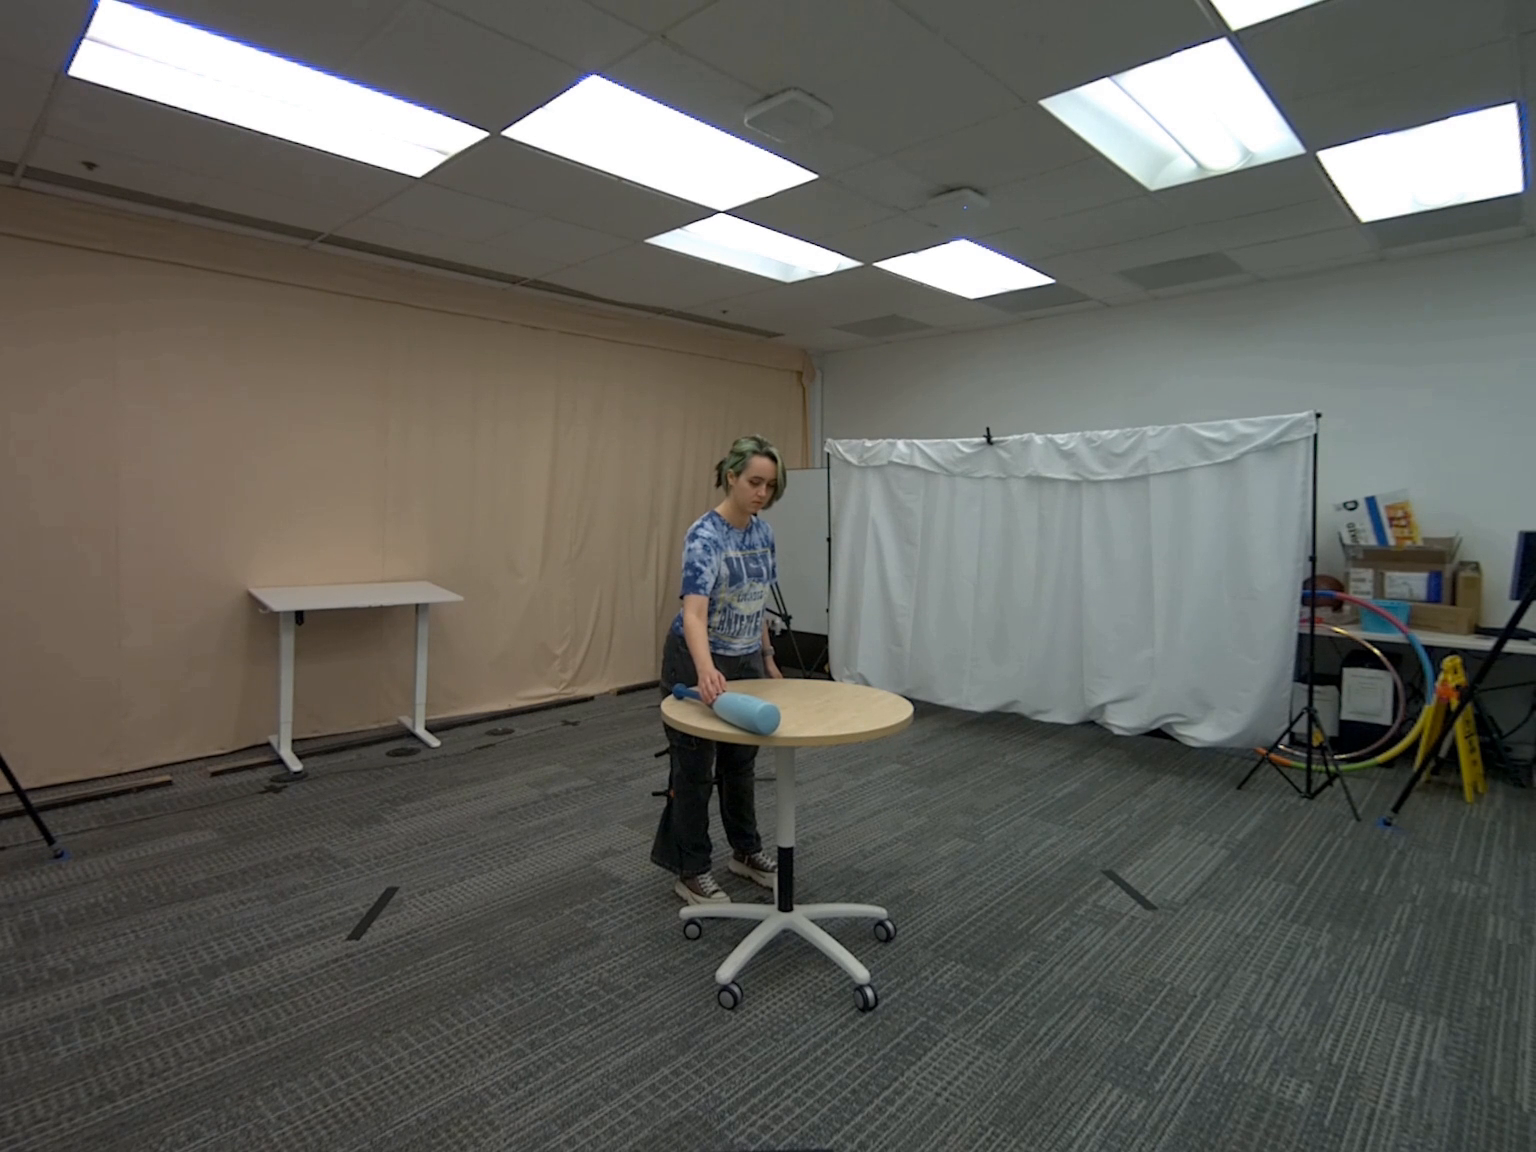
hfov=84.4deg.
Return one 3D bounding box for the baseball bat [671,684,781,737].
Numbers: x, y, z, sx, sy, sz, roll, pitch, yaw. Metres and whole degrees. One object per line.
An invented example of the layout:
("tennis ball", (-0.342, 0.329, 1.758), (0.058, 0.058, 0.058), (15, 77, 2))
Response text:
("baseball bat", (-0.132, 0.369, 2.424), (0.087, 0.089, 0.557), (-2, 1, -30))
